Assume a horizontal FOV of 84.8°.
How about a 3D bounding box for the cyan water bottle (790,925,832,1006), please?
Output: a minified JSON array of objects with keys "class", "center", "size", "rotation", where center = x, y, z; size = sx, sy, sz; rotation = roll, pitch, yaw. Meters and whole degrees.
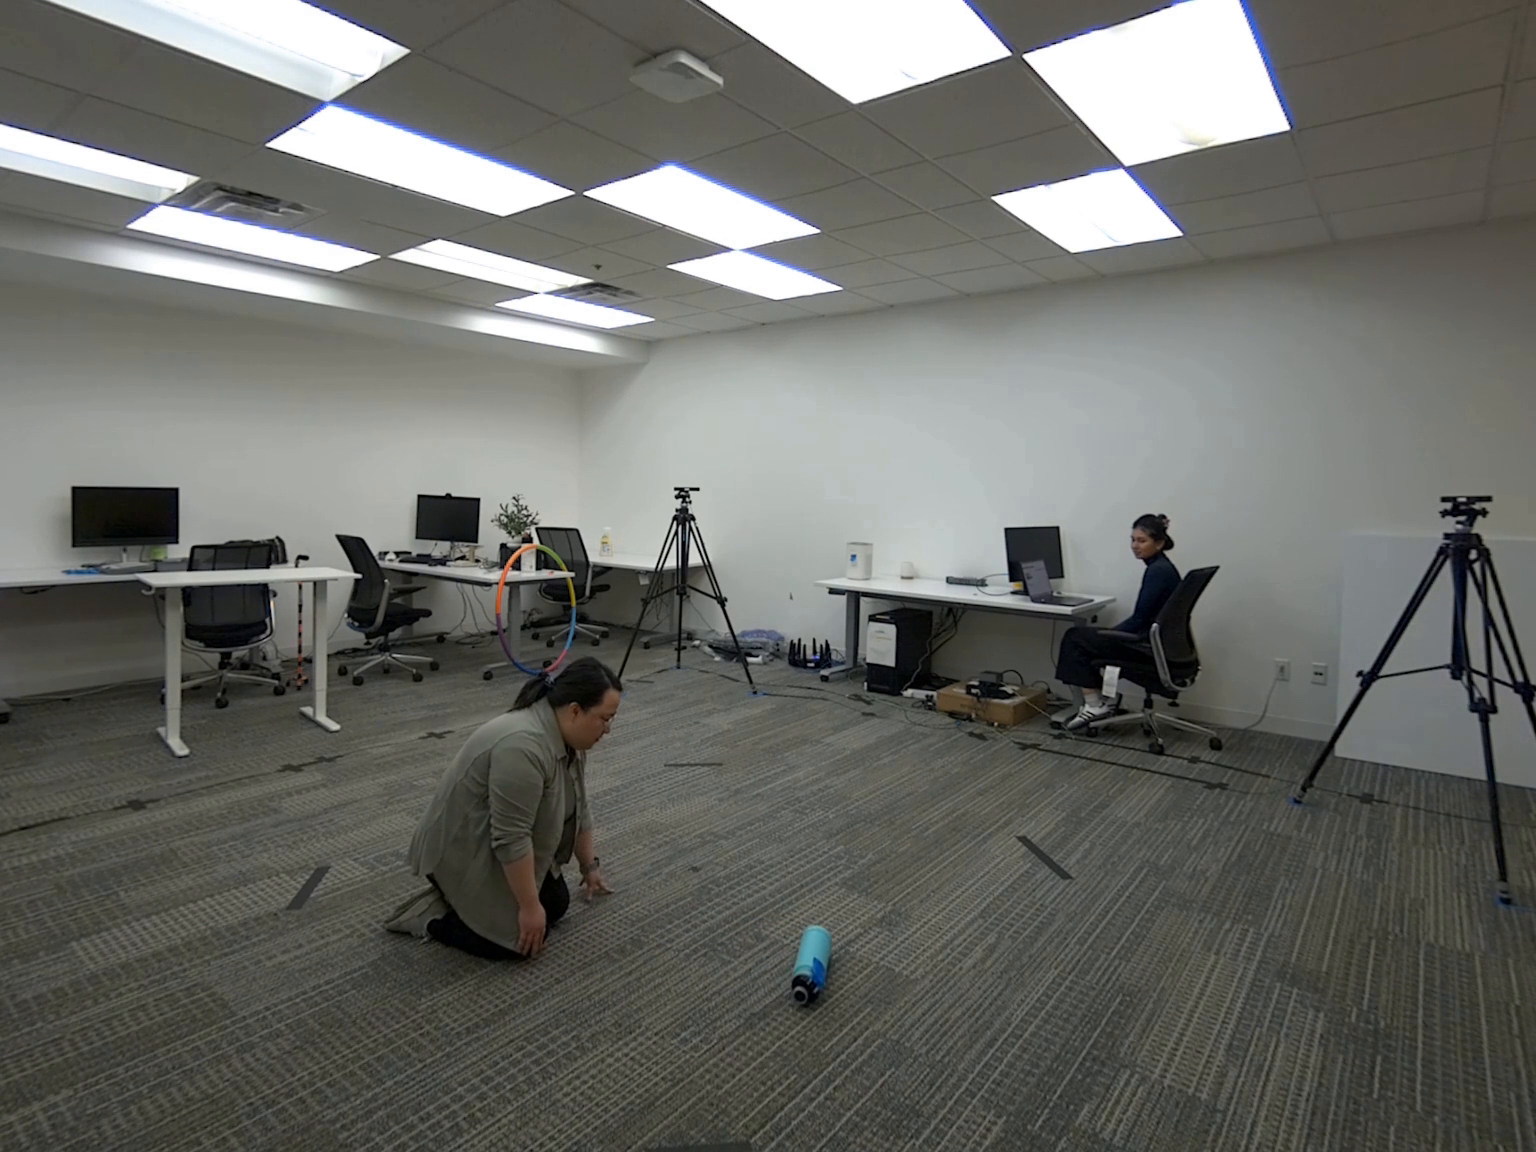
[{"class":"cyan water bottle","center":[0.116,1.100,2.399],"size":[0.093,0.092,0.281],"rotation":[2,6,10]}]
